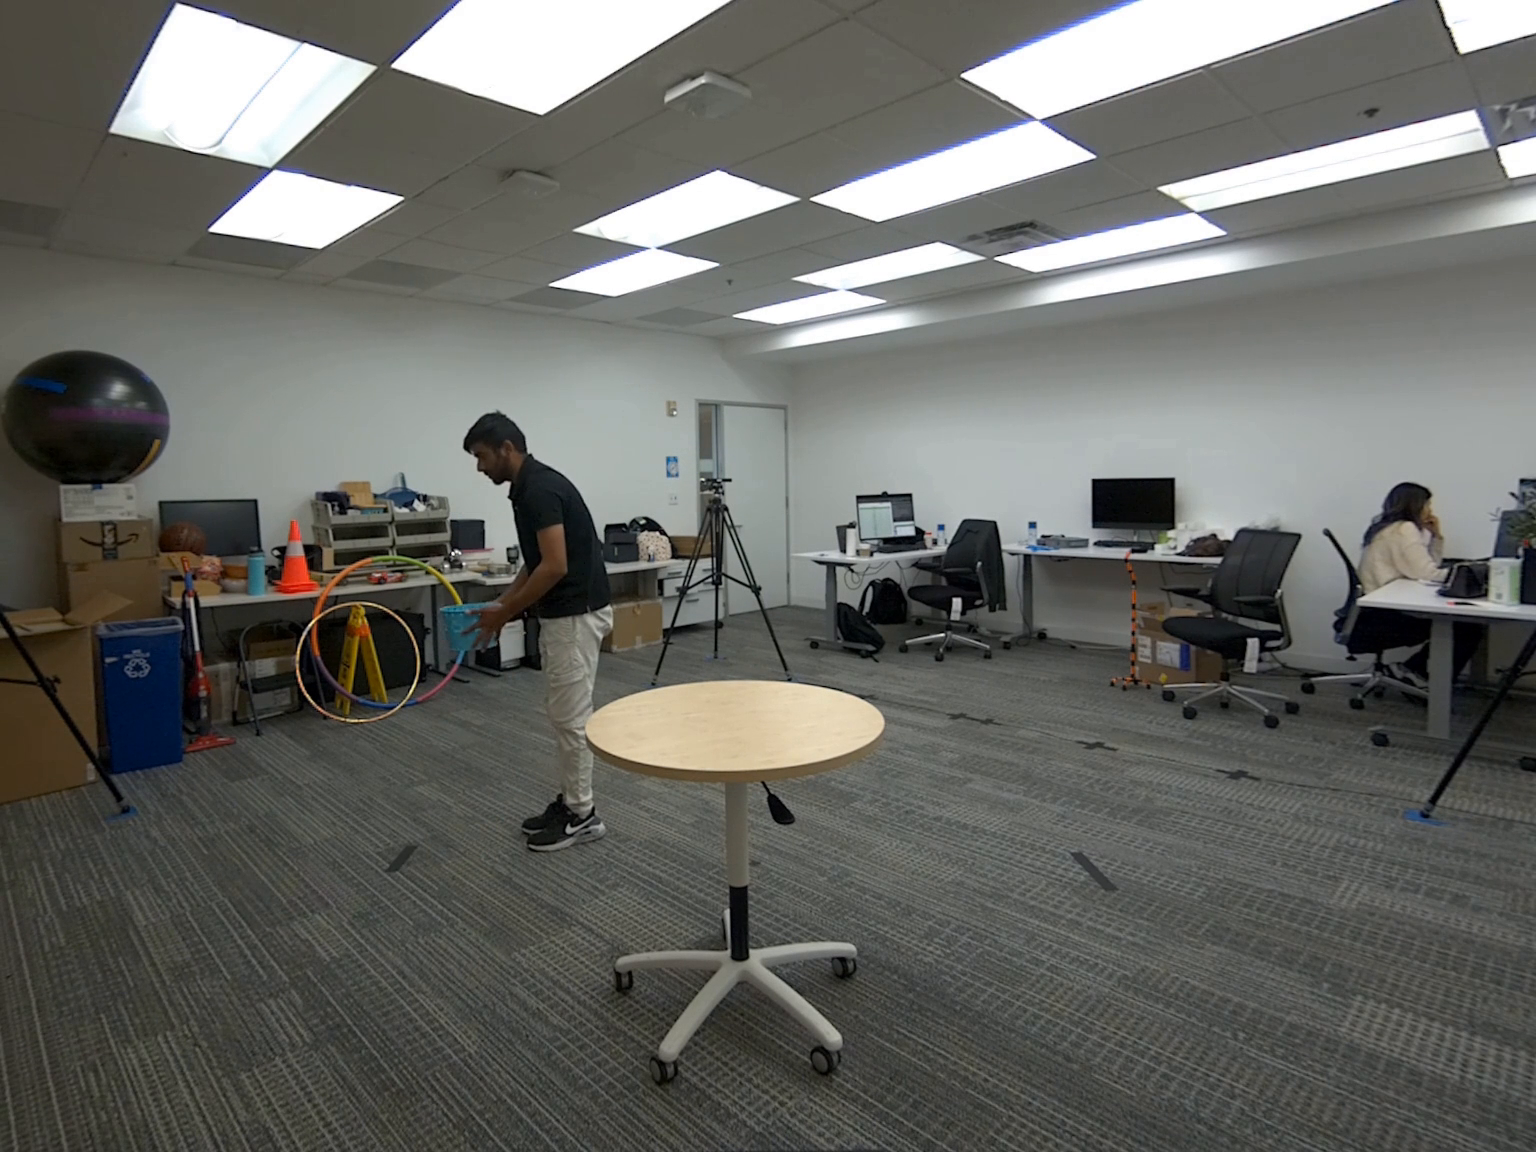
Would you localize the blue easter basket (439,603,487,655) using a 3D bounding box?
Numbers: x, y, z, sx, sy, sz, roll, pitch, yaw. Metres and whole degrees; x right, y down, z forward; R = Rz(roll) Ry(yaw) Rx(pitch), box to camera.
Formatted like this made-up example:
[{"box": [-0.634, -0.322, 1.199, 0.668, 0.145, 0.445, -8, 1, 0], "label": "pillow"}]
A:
[{"box": [-1.128, 0.197, 3.263, 0.243, 0.155, 0.245, -2, 6, -1], "label": "blue easter basket"}]
